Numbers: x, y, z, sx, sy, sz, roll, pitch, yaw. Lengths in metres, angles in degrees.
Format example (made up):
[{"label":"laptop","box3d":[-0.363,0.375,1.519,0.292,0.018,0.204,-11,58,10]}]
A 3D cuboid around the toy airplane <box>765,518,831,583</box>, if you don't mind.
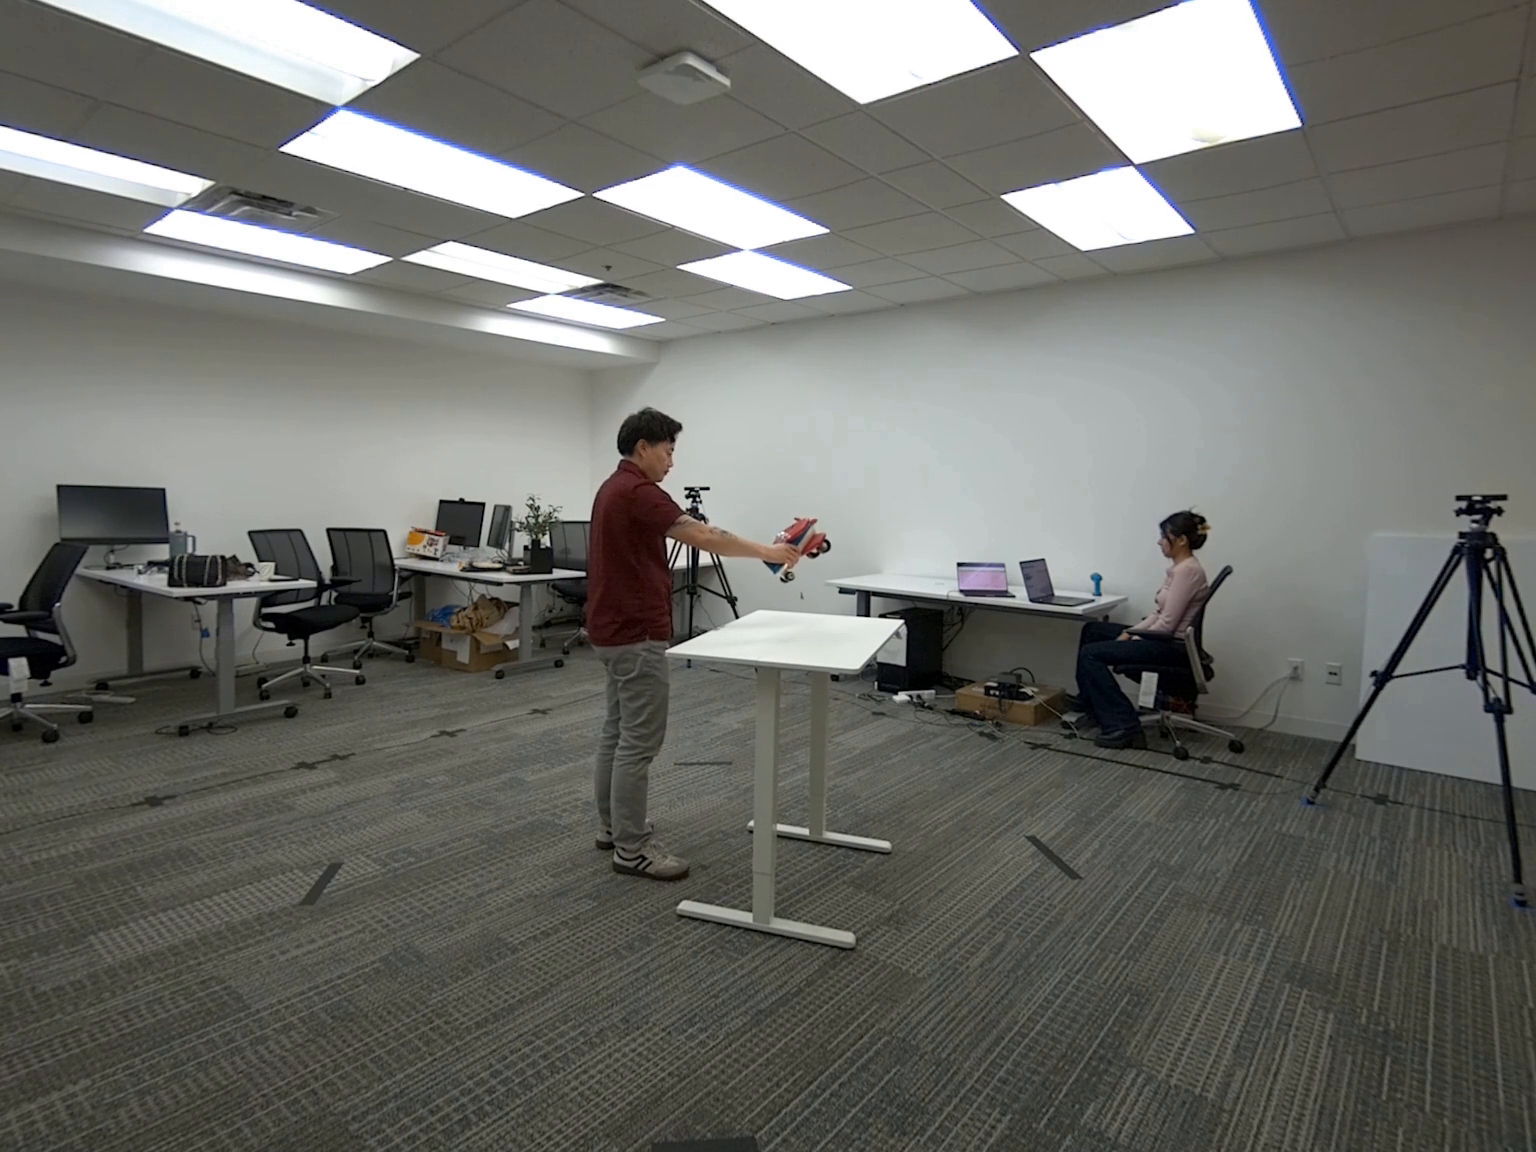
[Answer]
[{"label":"toy airplane","box3d":[0.100,-0.100,3.120,0.254,0.155,0.258,-31,7,37]}]
